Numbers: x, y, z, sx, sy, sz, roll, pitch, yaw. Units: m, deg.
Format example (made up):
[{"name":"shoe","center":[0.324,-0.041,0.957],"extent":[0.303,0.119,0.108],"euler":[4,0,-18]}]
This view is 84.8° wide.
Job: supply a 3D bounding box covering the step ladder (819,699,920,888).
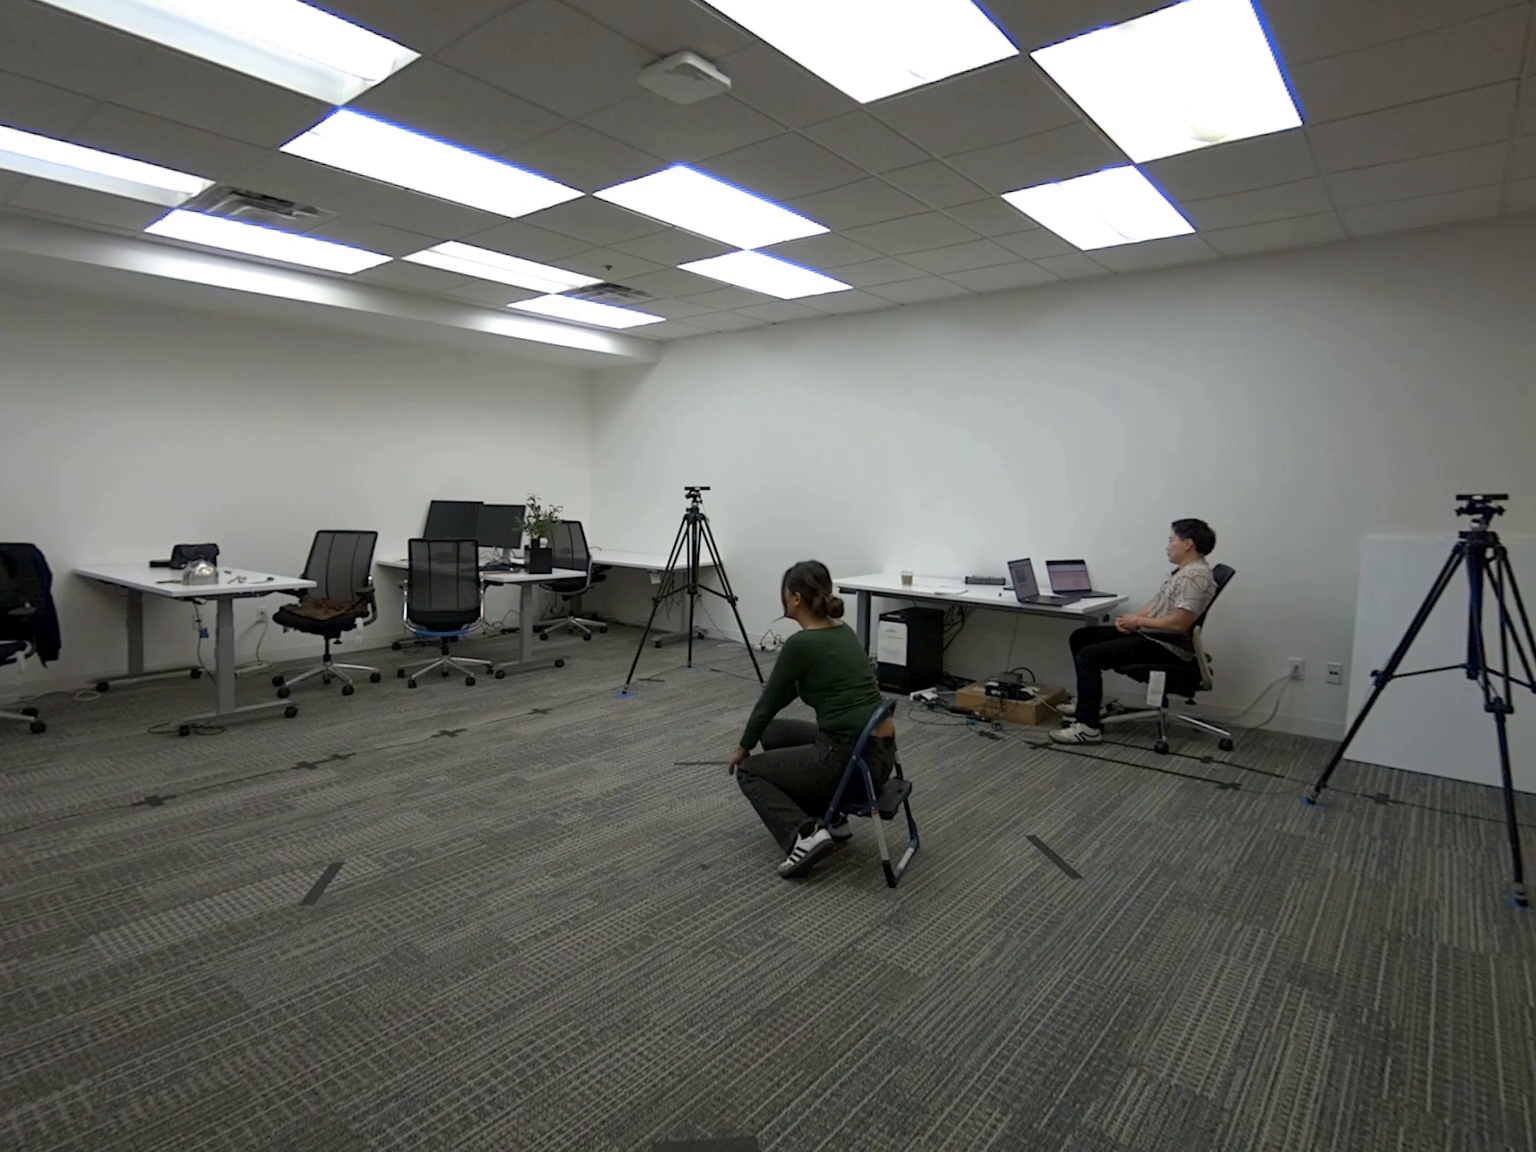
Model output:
[{"name":"step ladder","center":[0.363,0.769,3.213],"extent":[0.358,0.604,0.421],"euler":[3,4,23]}]
